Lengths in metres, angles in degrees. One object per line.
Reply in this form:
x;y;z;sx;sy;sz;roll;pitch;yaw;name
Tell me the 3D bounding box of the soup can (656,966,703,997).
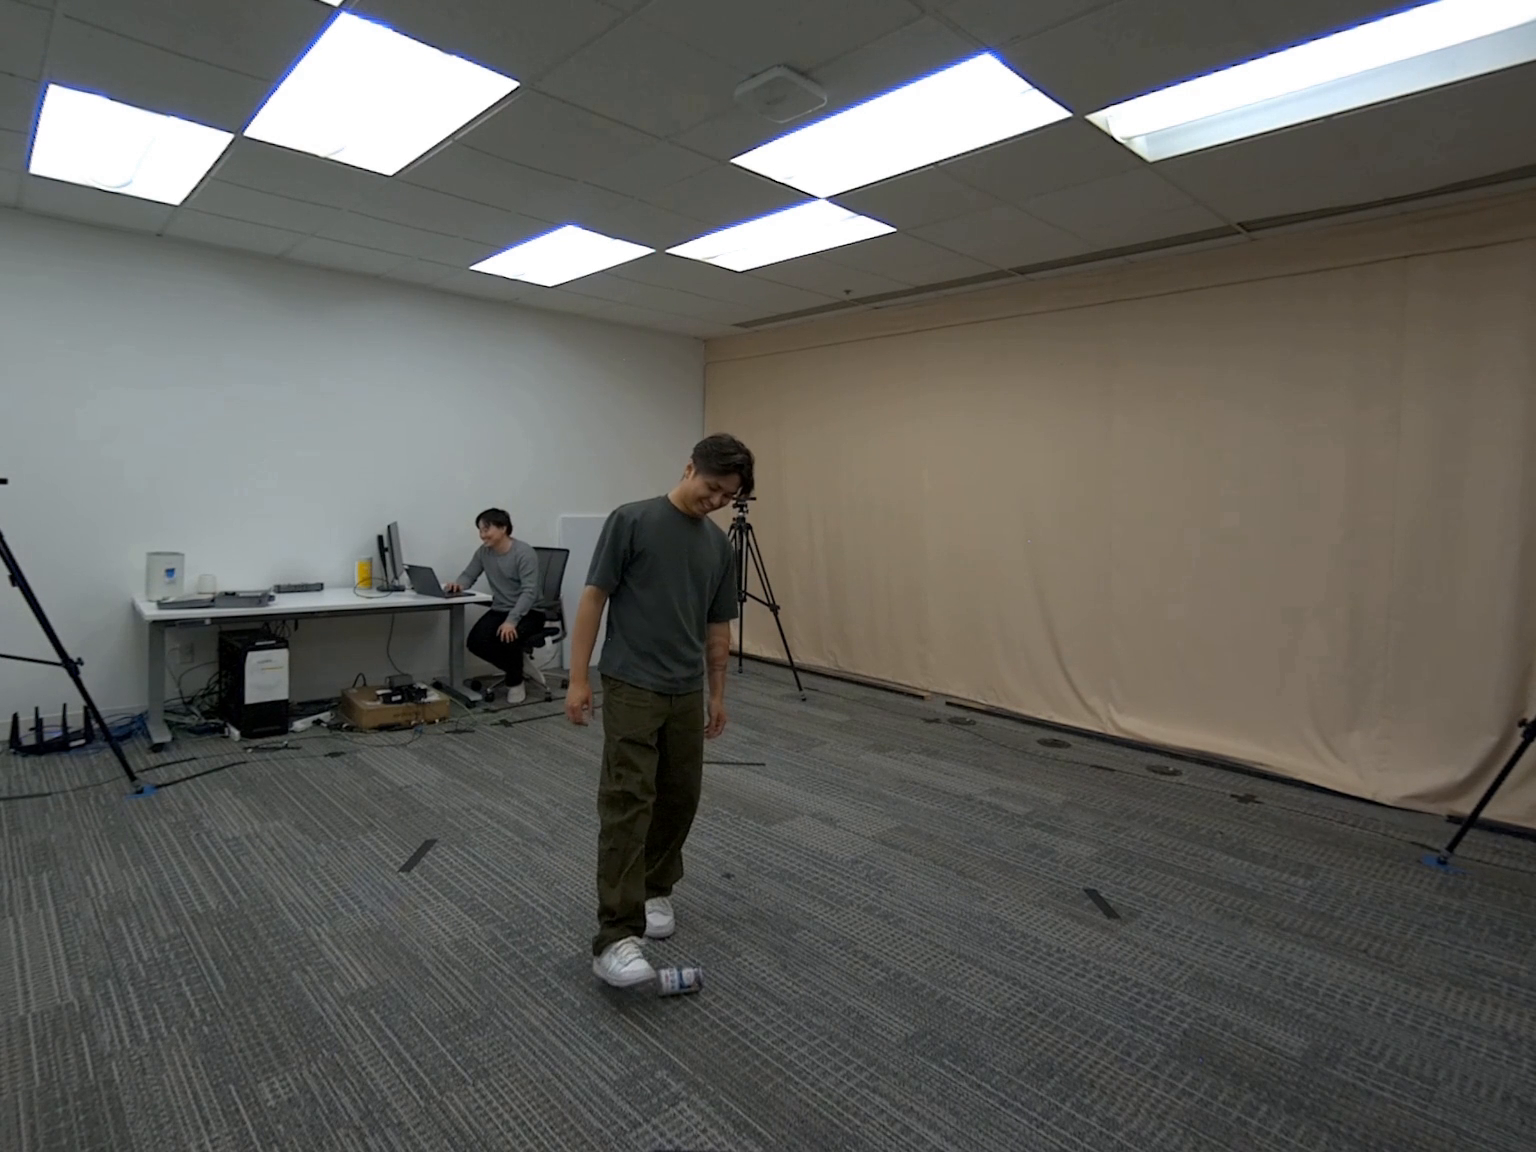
-0.267;1.143;2.347;0.120;0.067;0.068;2;4;-11;soup can
